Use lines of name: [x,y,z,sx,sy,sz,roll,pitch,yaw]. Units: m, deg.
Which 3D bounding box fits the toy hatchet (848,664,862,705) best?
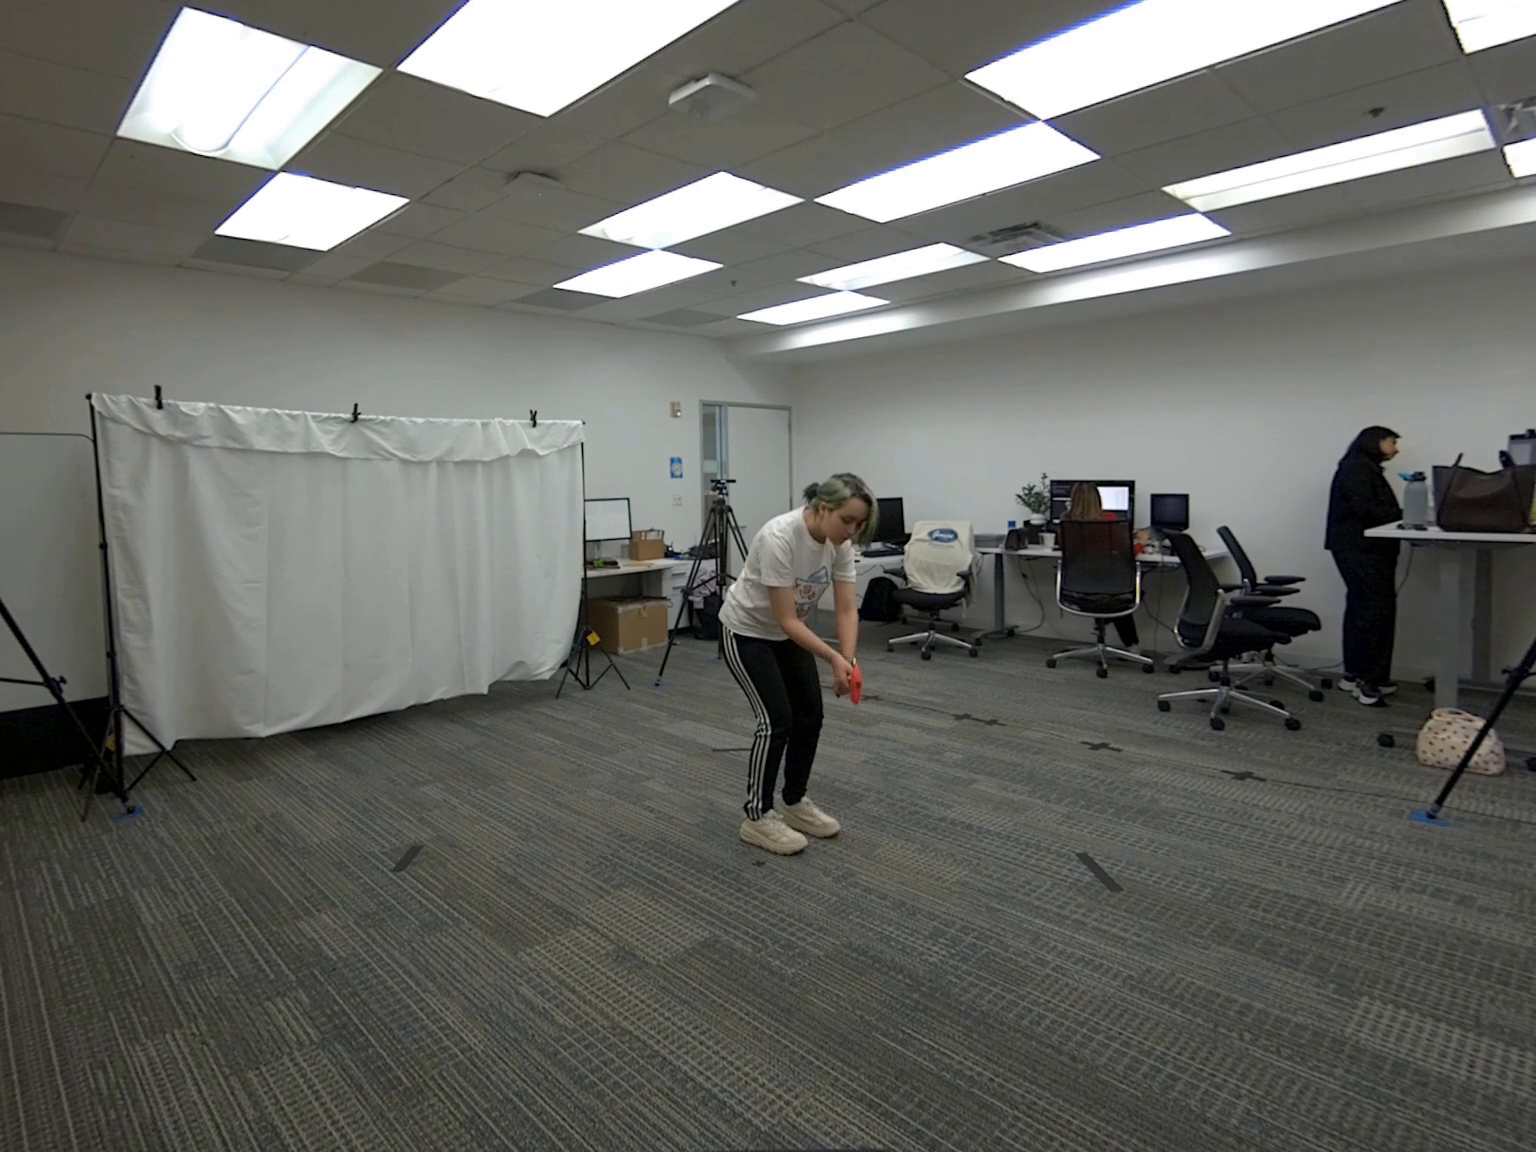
toy hatchet: [0.285,0.396,2.913,0.029,0.133,0.265,1,-22,-2]
